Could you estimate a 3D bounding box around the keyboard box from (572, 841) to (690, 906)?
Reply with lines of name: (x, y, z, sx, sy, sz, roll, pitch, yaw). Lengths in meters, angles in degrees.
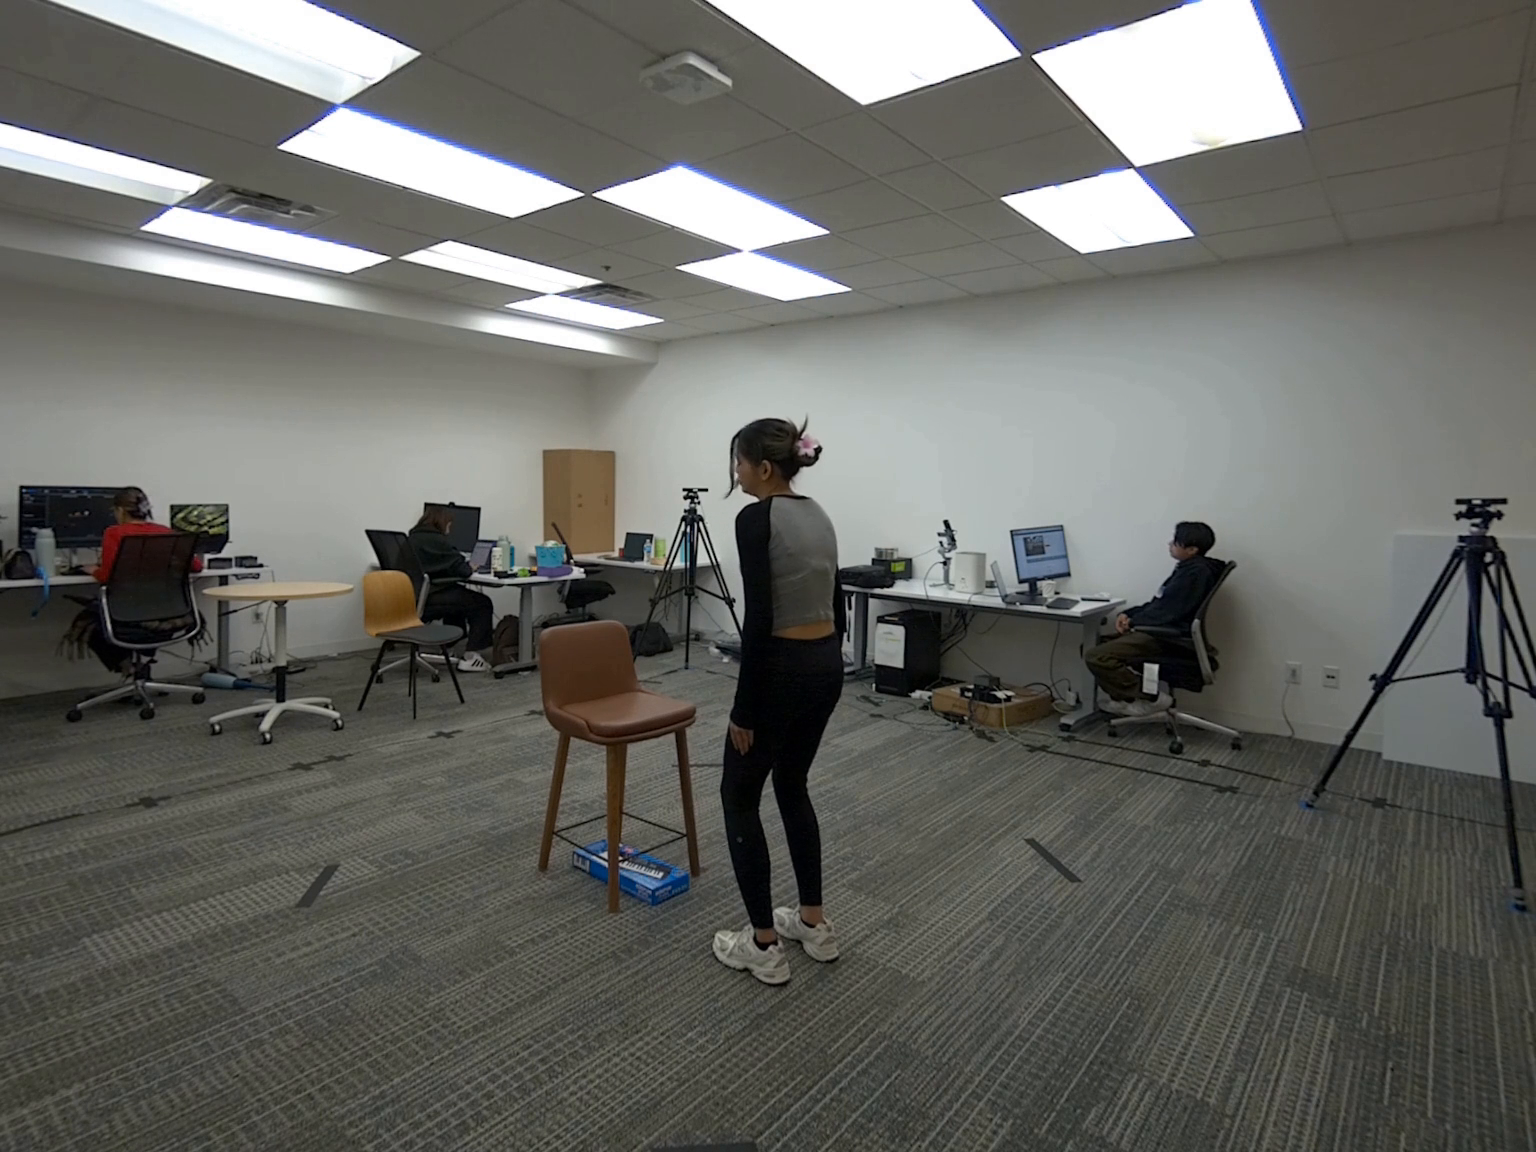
keyboard box: (-0.505, 1.044, 3.024, 0.452, 0.059, 0.171, 5, 7, 41)
